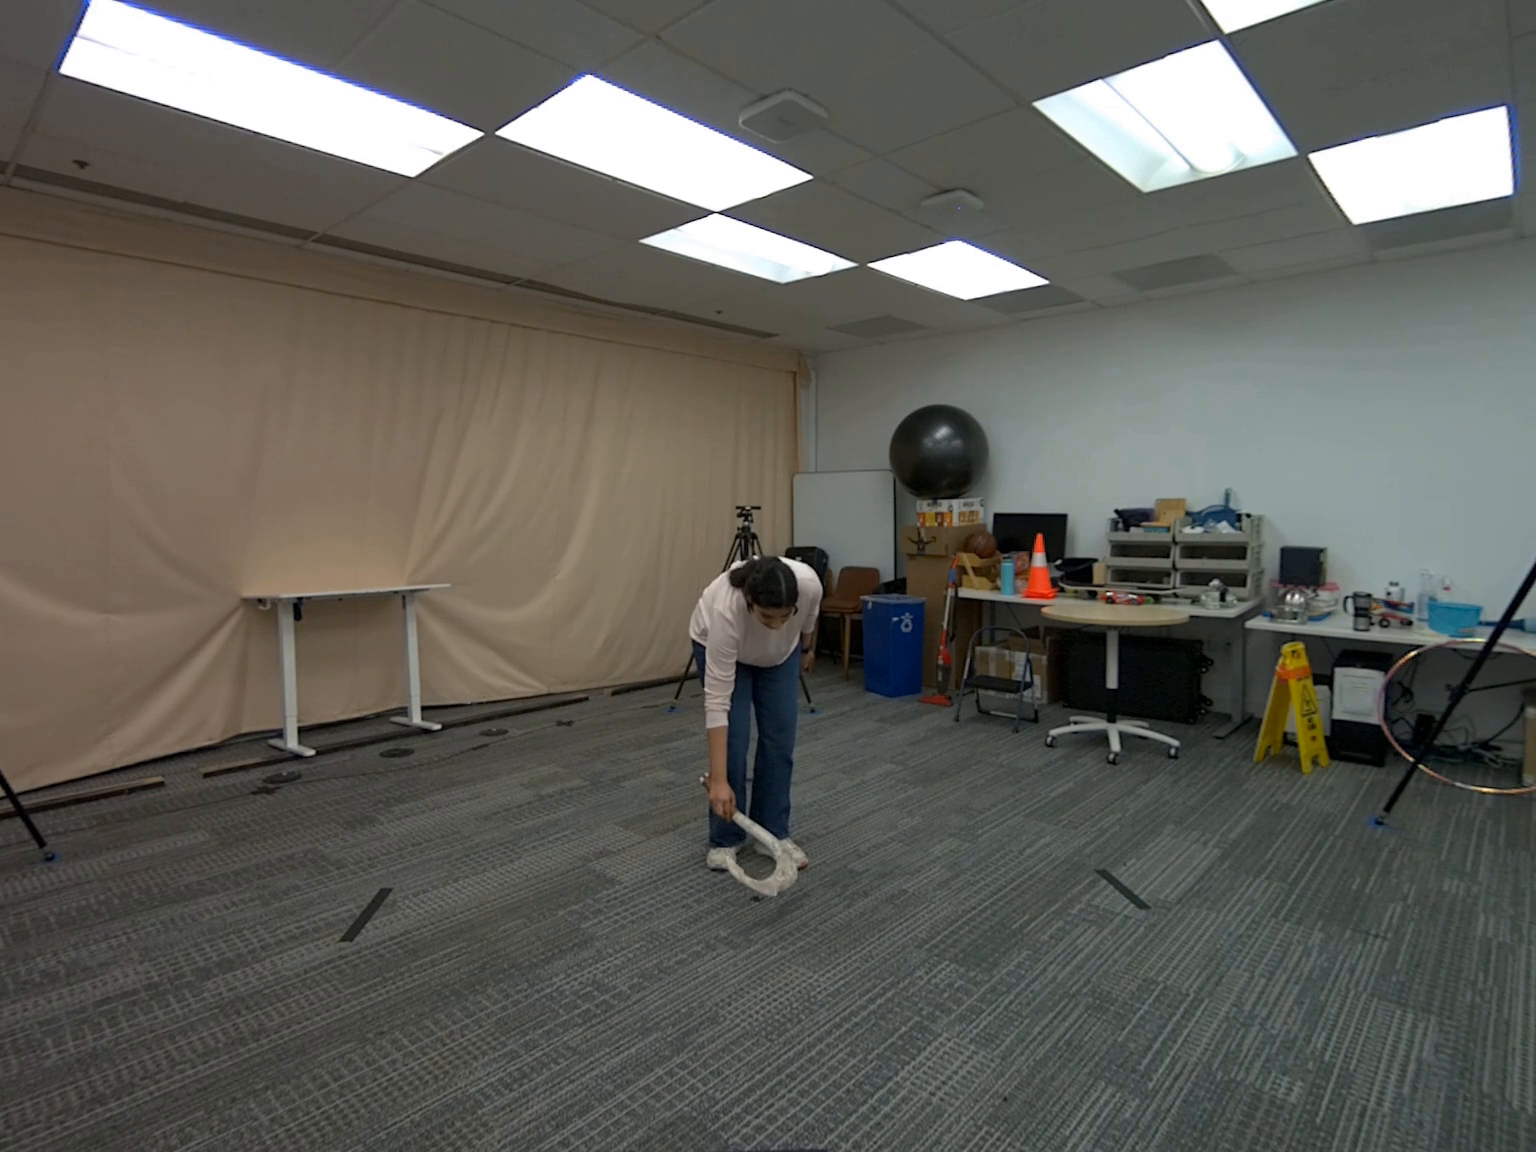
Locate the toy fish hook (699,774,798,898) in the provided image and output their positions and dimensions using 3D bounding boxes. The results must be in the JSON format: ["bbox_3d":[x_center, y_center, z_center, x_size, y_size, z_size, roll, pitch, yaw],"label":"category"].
[{"bbox_3d":[-0.108,0.861,2.874,0.219,0.048,0.524,-15,42,-40],"label":"toy fish hook"}]
